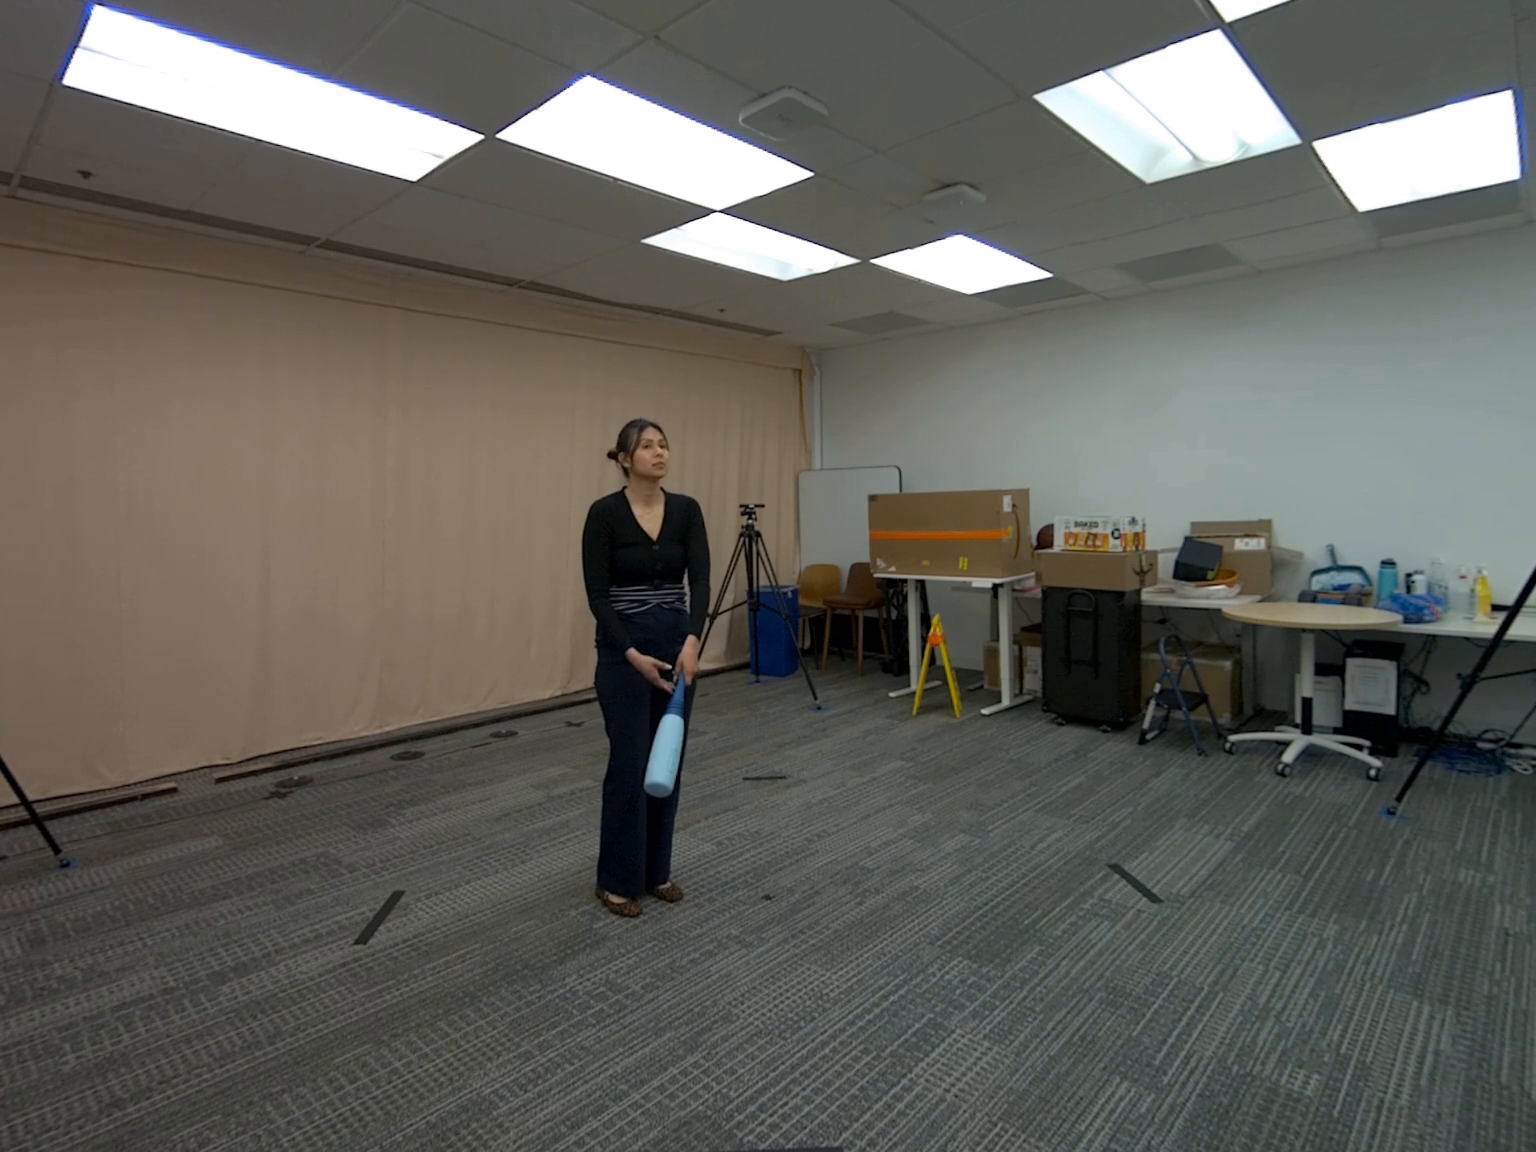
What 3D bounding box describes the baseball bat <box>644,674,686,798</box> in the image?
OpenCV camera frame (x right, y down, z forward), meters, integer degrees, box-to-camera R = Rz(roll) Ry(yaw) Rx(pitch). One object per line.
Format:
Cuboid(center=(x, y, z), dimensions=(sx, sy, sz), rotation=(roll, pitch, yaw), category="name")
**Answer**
Cuboid(center=(-0.288, 0.434, 2.642), dimensions=(0.090, 0.087, 0.549), rotation=(-1, 43, 12), category="baseball bat")
